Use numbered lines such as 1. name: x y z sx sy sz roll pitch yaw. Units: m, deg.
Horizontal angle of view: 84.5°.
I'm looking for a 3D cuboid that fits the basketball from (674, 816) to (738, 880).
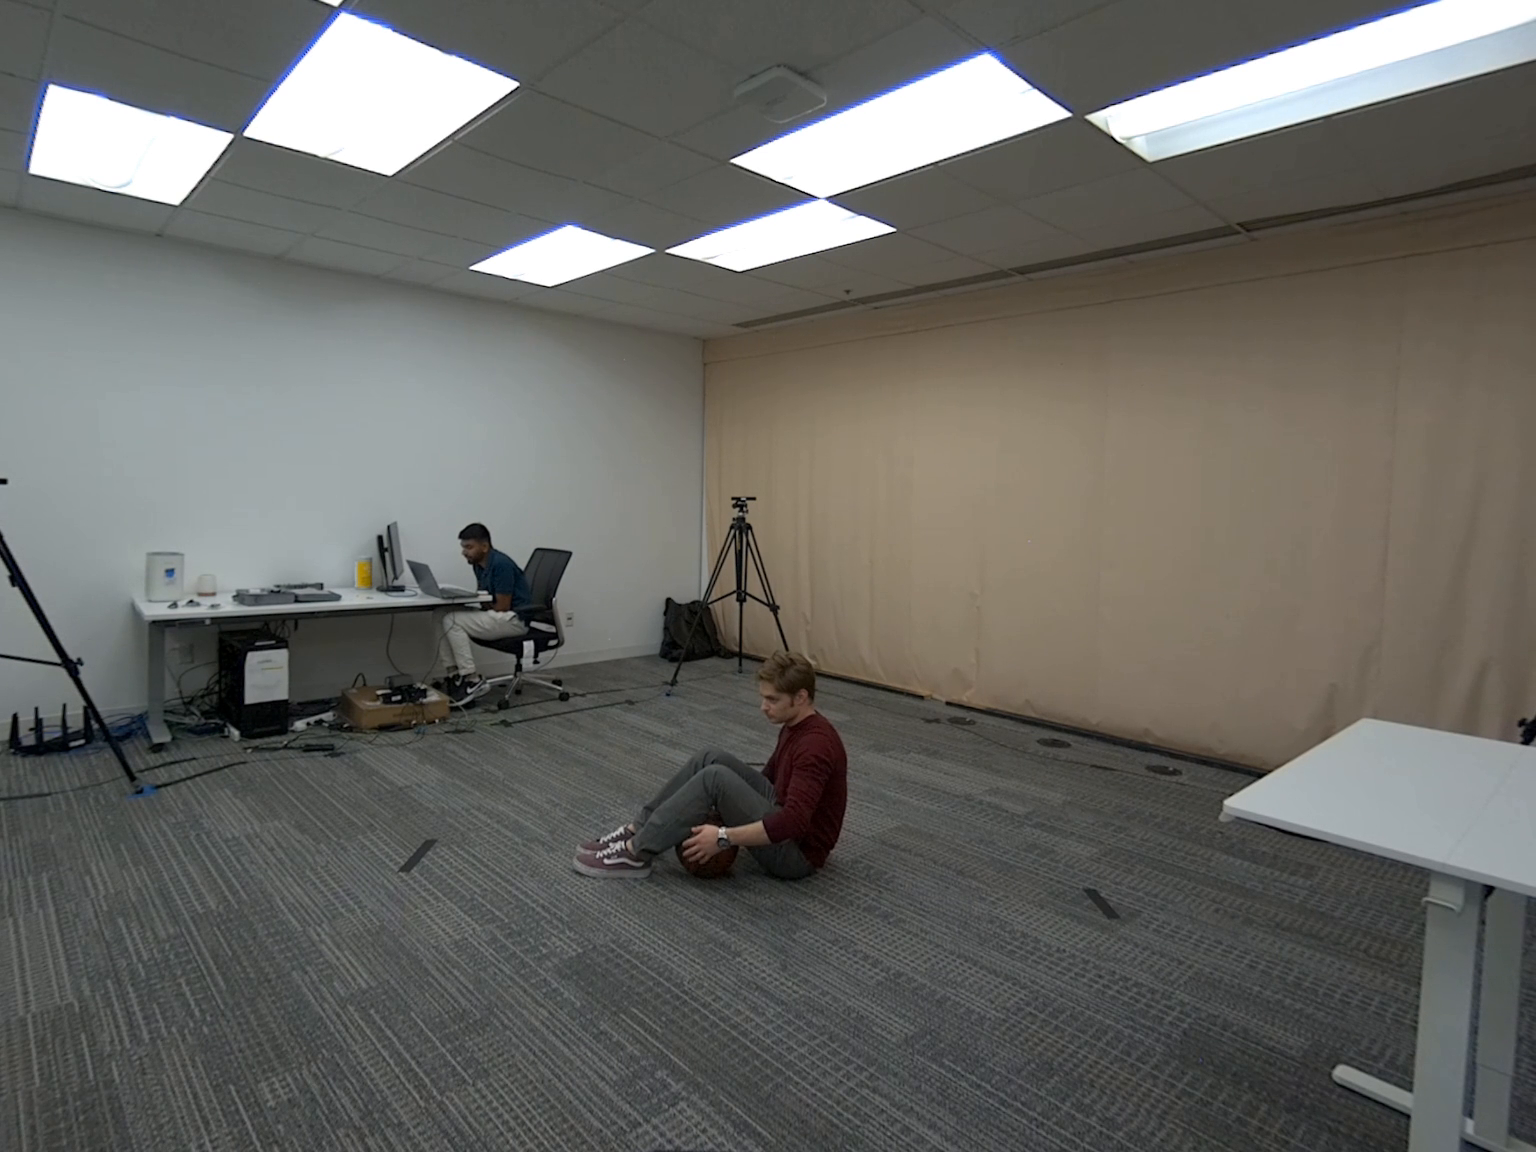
1. basketball: -0.232 0.986 3.111 0.236 0.235 0.237 1 4 -1
